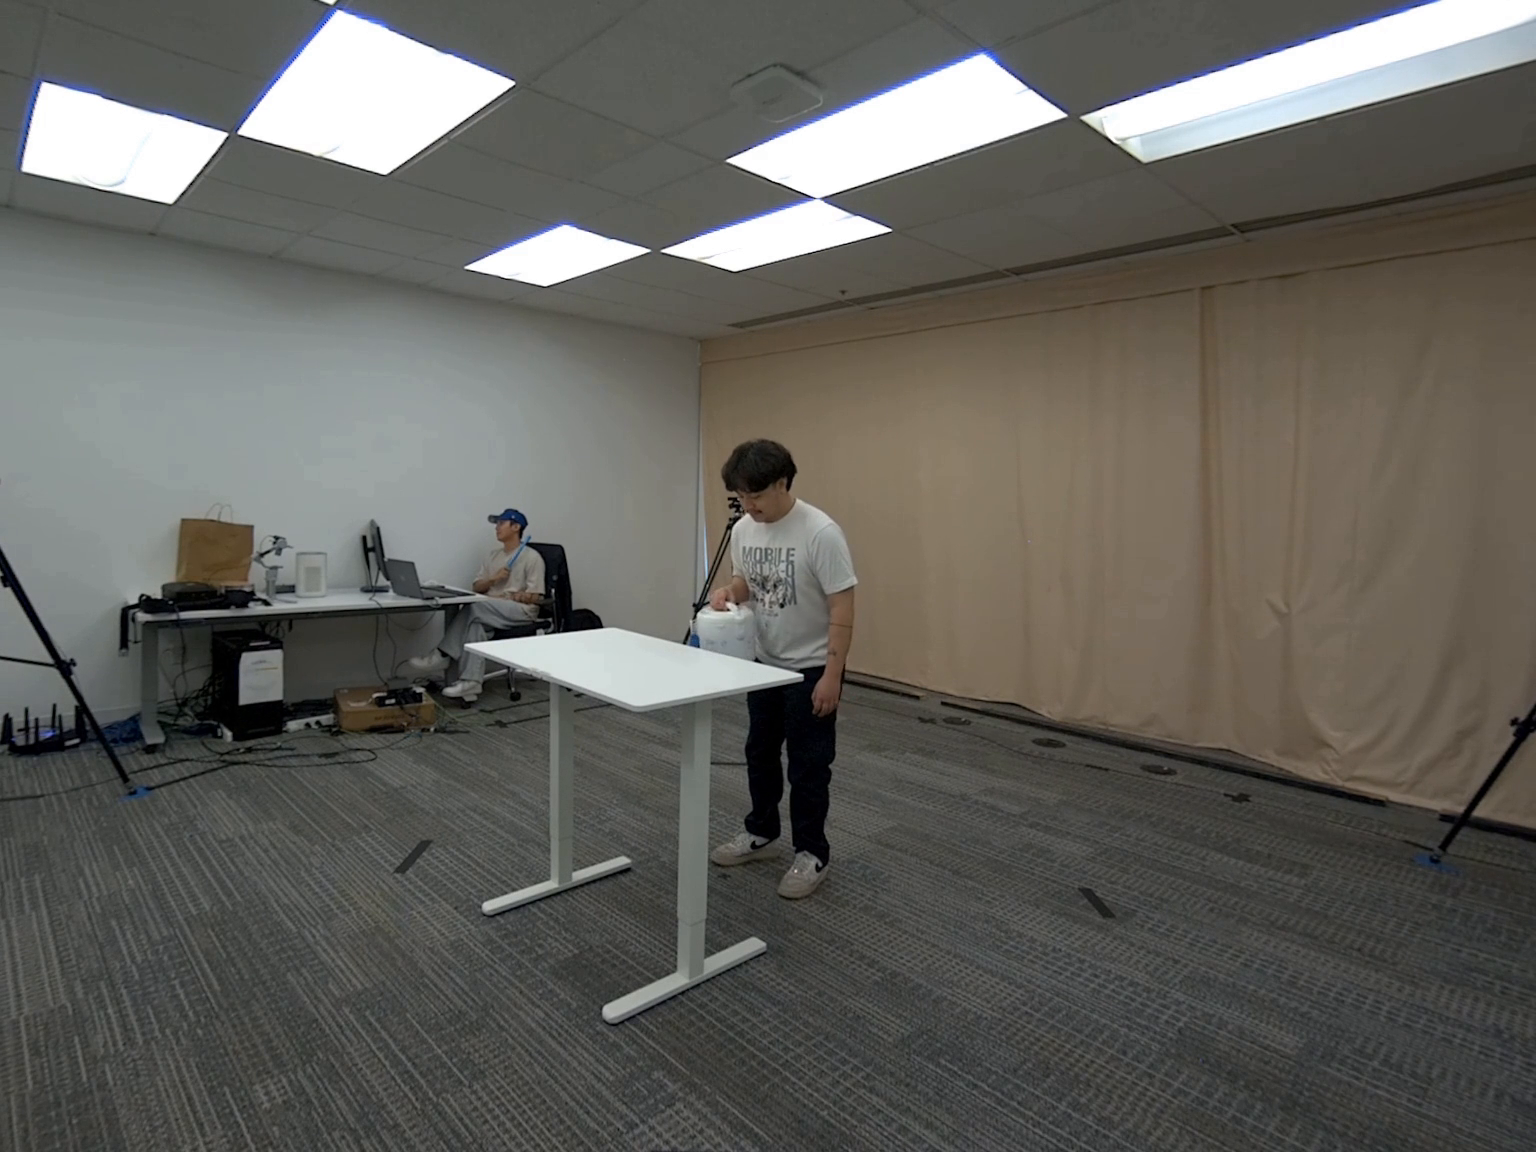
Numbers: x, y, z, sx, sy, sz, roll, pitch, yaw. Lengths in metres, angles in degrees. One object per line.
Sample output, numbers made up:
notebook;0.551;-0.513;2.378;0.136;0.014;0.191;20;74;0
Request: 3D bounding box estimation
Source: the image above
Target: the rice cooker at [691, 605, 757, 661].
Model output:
rice cooker;-0.151;0.208;3.030;0.213;0.232;0.226;-6;7;-31
